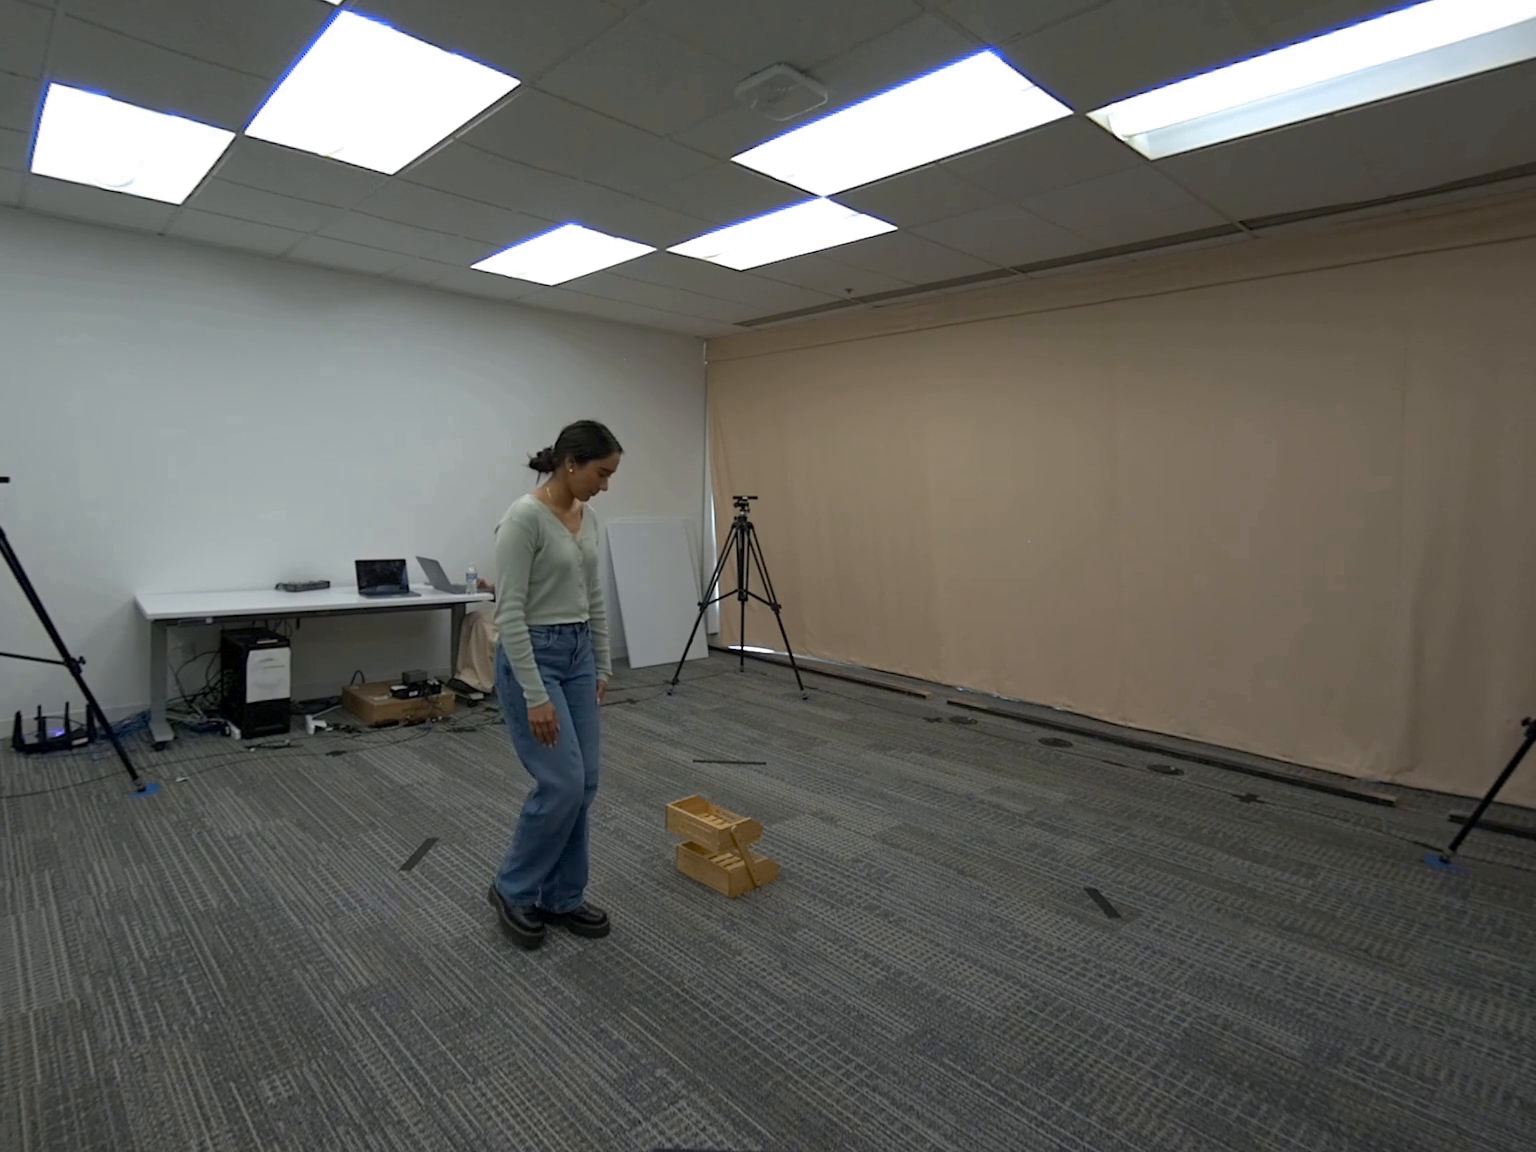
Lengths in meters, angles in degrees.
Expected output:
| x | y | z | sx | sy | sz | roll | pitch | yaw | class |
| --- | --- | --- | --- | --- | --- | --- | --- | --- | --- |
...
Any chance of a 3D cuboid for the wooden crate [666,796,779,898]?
| x | y | z | sx | sy | sz | roll | pitch | yaw | class |
| --- | --- | --- | --- | --- | --- | --- | --- | --- | --- |
| -0.172 | 0.969 | 3.088 | 0.295 | 0.272 | 0.333 | -4 | 7 | -44 | wooden crate |
